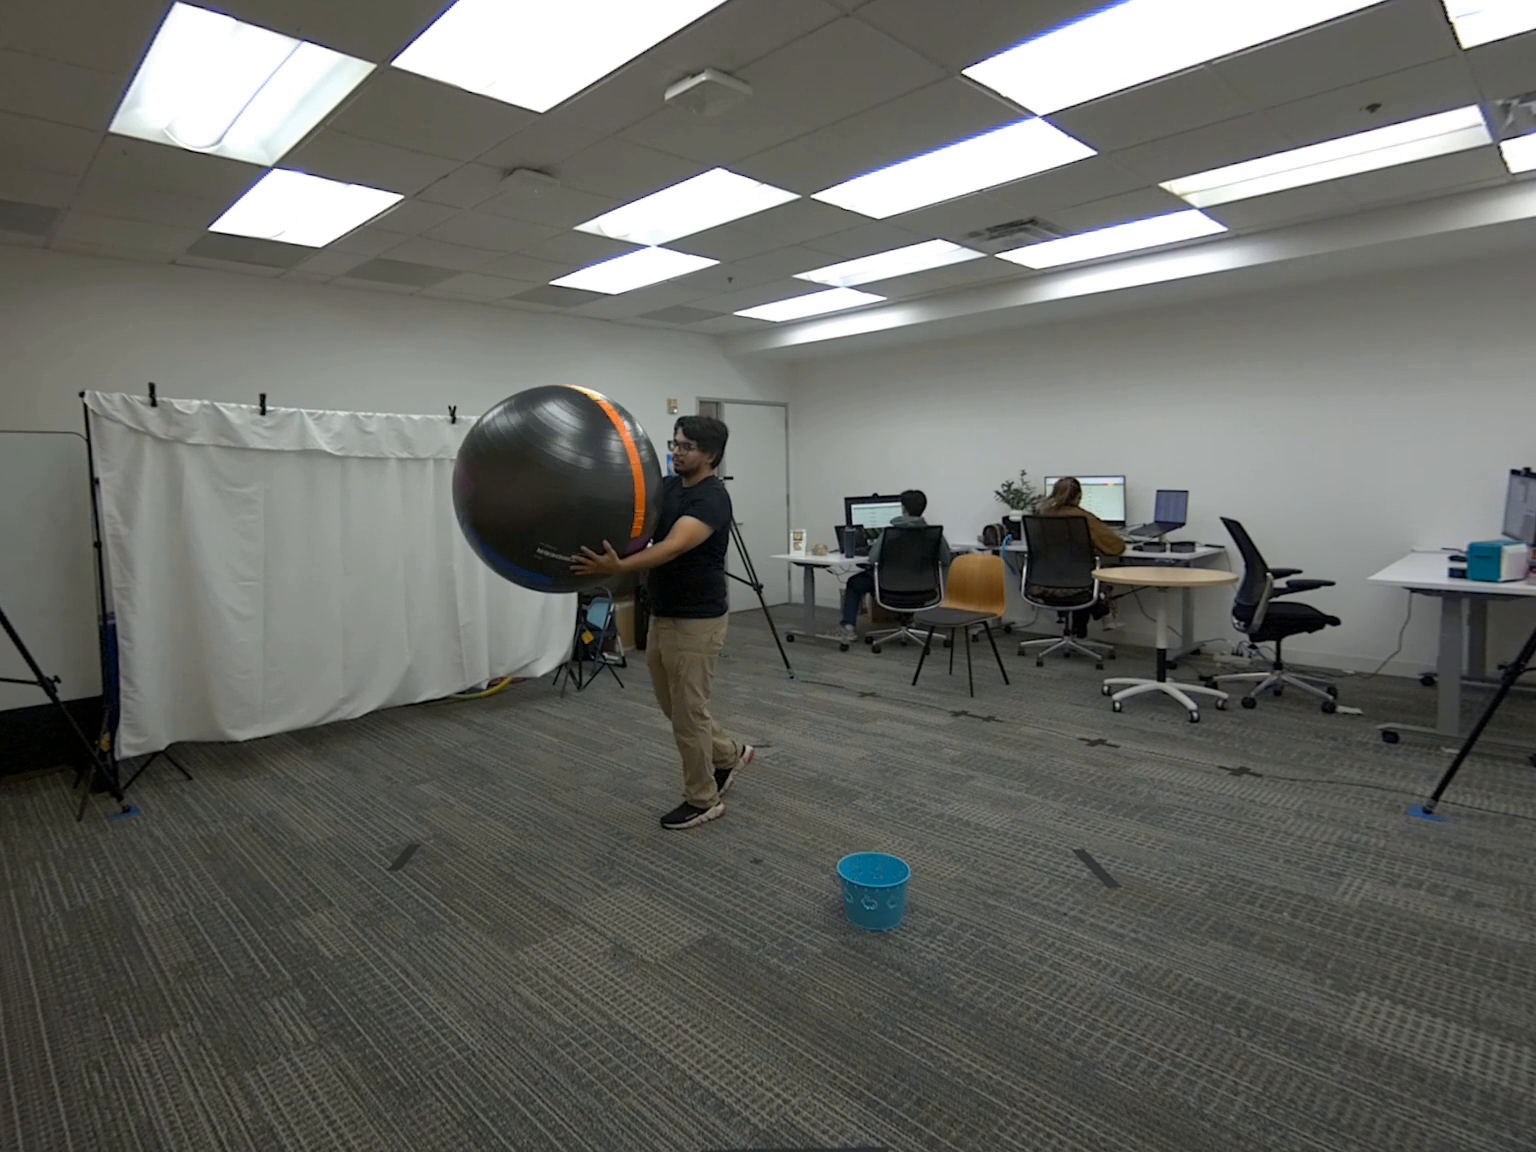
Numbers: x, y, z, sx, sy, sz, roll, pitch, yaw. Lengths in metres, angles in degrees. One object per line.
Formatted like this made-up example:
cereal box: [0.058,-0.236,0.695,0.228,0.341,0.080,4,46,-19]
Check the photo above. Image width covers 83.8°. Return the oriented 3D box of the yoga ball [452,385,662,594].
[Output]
yoga ball: [-0.767,-0.310,3.138,0.757,0.755,0.762,-1,5,-2]
